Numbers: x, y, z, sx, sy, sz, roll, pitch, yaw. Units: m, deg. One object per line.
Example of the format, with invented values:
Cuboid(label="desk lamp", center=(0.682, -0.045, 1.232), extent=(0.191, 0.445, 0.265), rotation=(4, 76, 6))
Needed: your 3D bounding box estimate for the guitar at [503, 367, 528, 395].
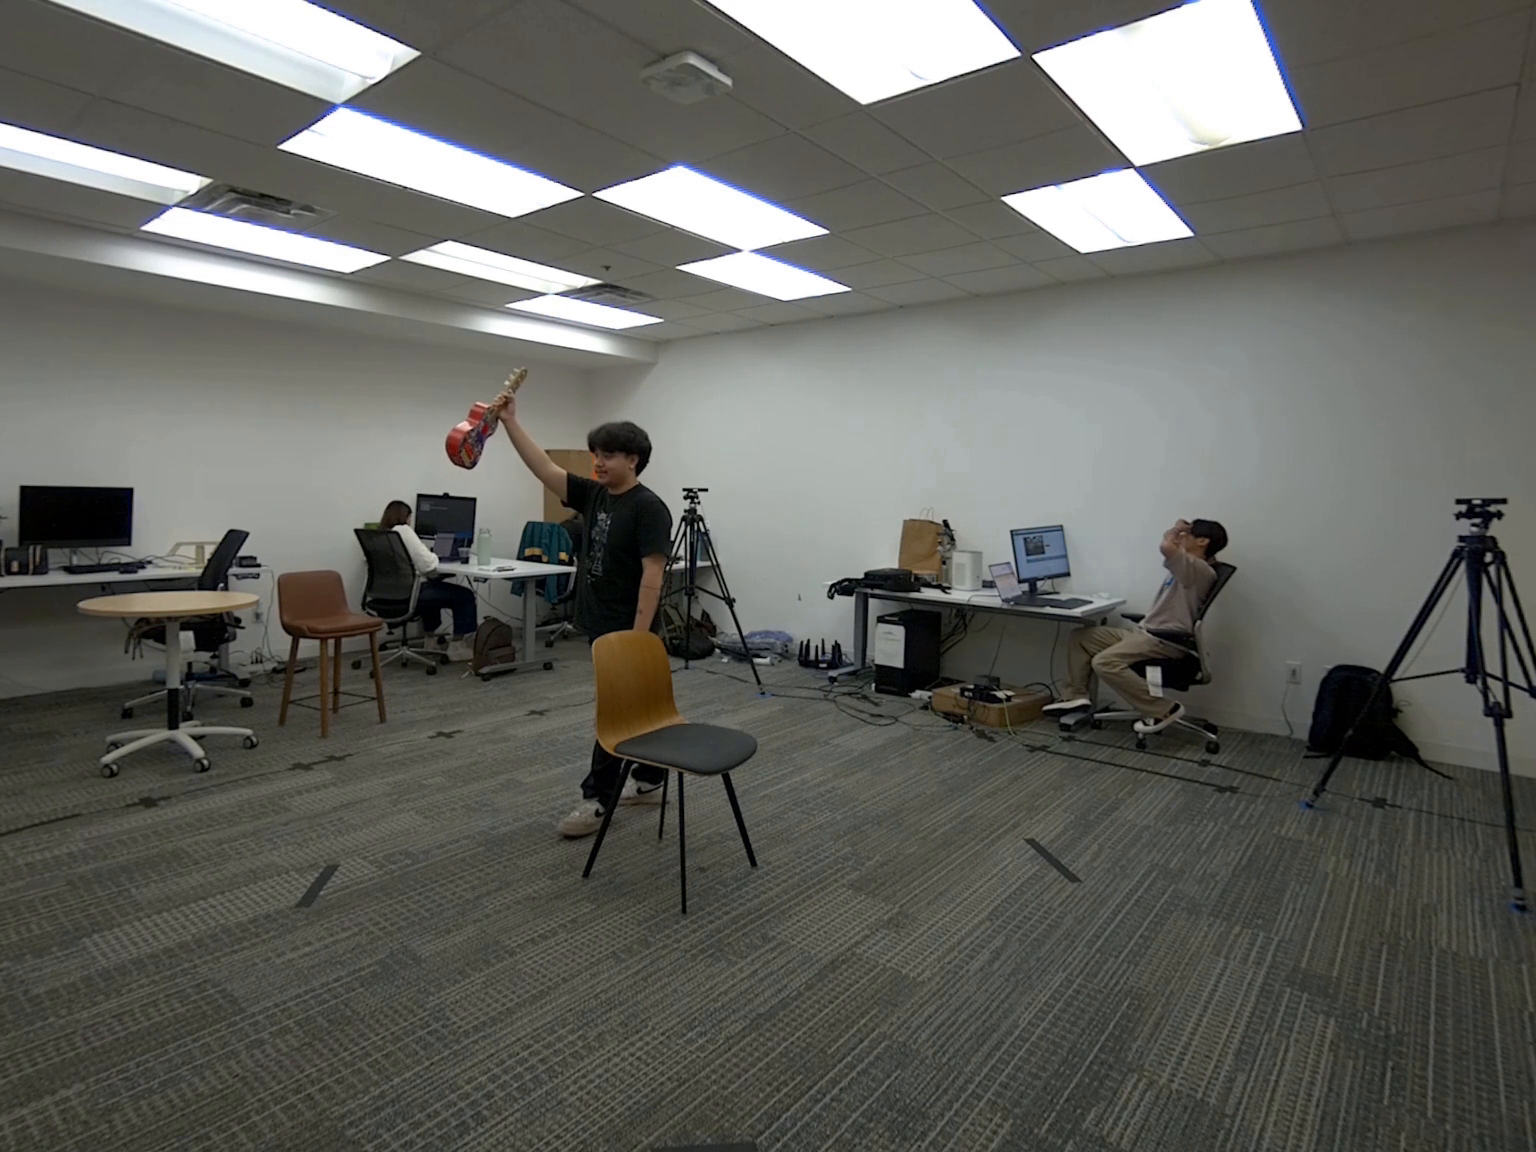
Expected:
Cuboid(label="guitar", center=(-1.137, -0.641, 3.451), extent=(0.072, 0.502, 0.188), rotation=(19, -33, 11))
